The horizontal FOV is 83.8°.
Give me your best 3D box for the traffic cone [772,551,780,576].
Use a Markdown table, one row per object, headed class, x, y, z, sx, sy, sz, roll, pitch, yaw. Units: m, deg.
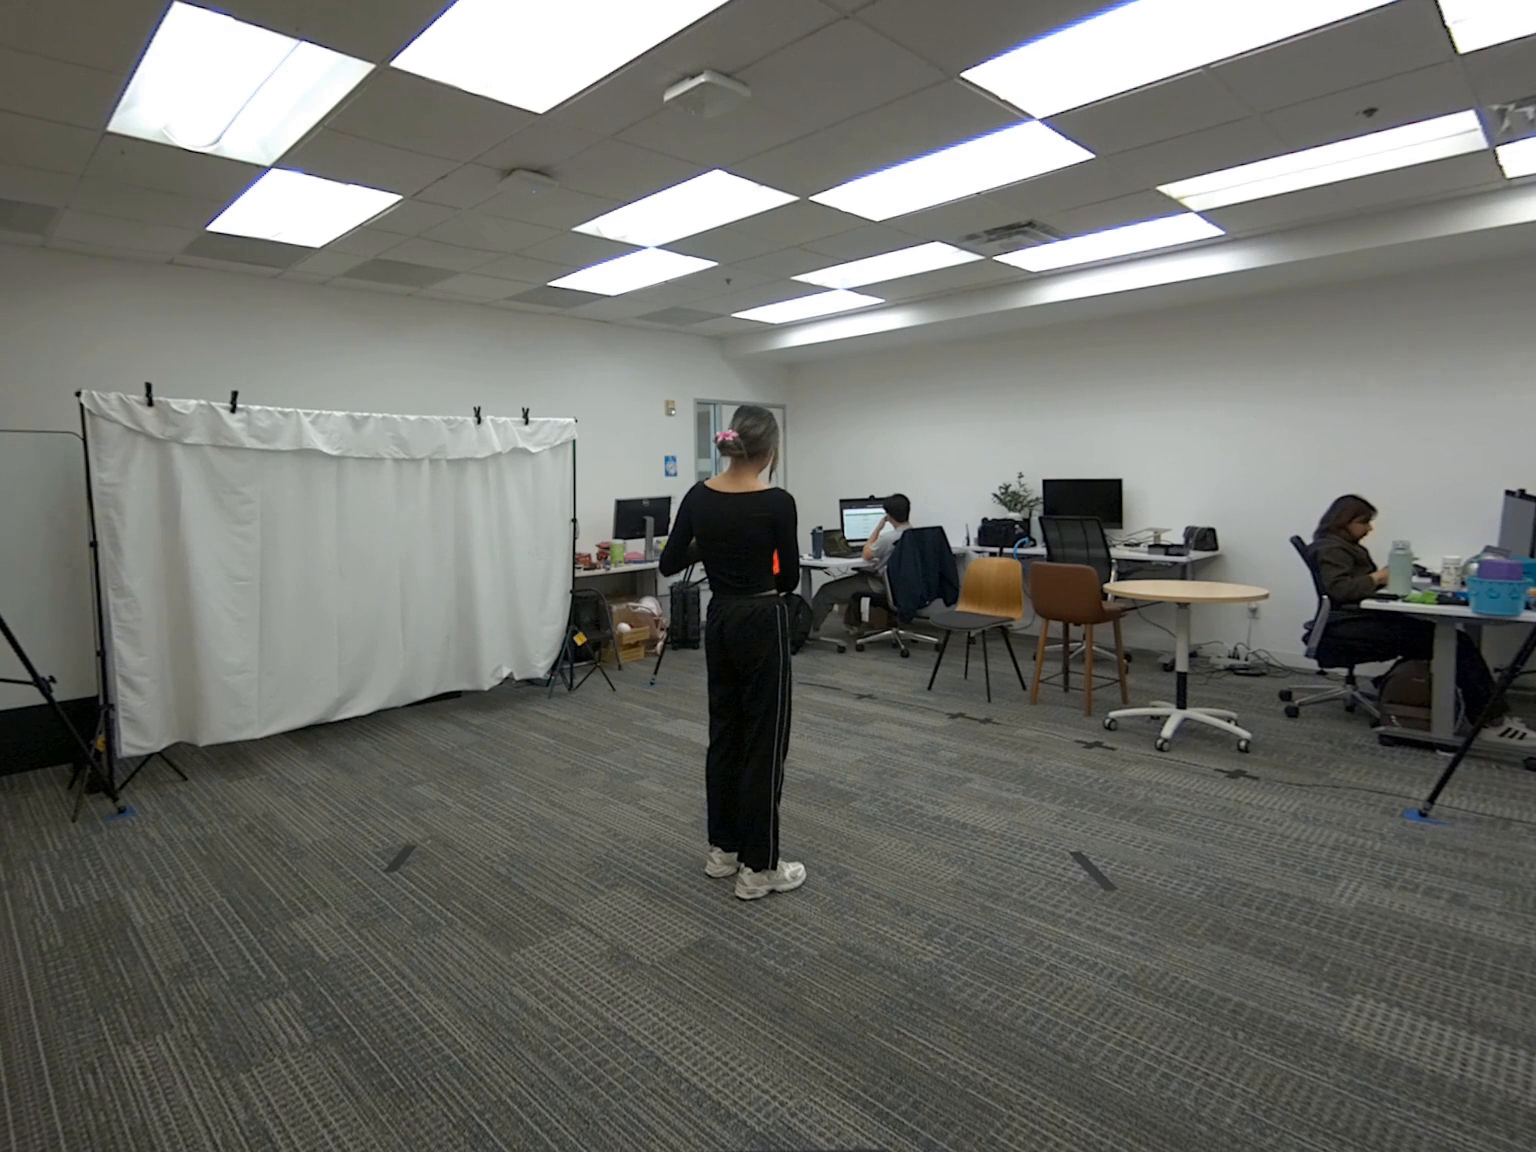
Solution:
| class | x | y | z | sx | sy | sz | roll | pitch | yaw |
| --- | --- | --- | --- | --- | --- | --- | --- | --- | --- |
| traffic cone | -0.139 | -0.134 | 3.237 | 0.395 | 0.205 | 0.198 | 15 | -15 | 27 |
